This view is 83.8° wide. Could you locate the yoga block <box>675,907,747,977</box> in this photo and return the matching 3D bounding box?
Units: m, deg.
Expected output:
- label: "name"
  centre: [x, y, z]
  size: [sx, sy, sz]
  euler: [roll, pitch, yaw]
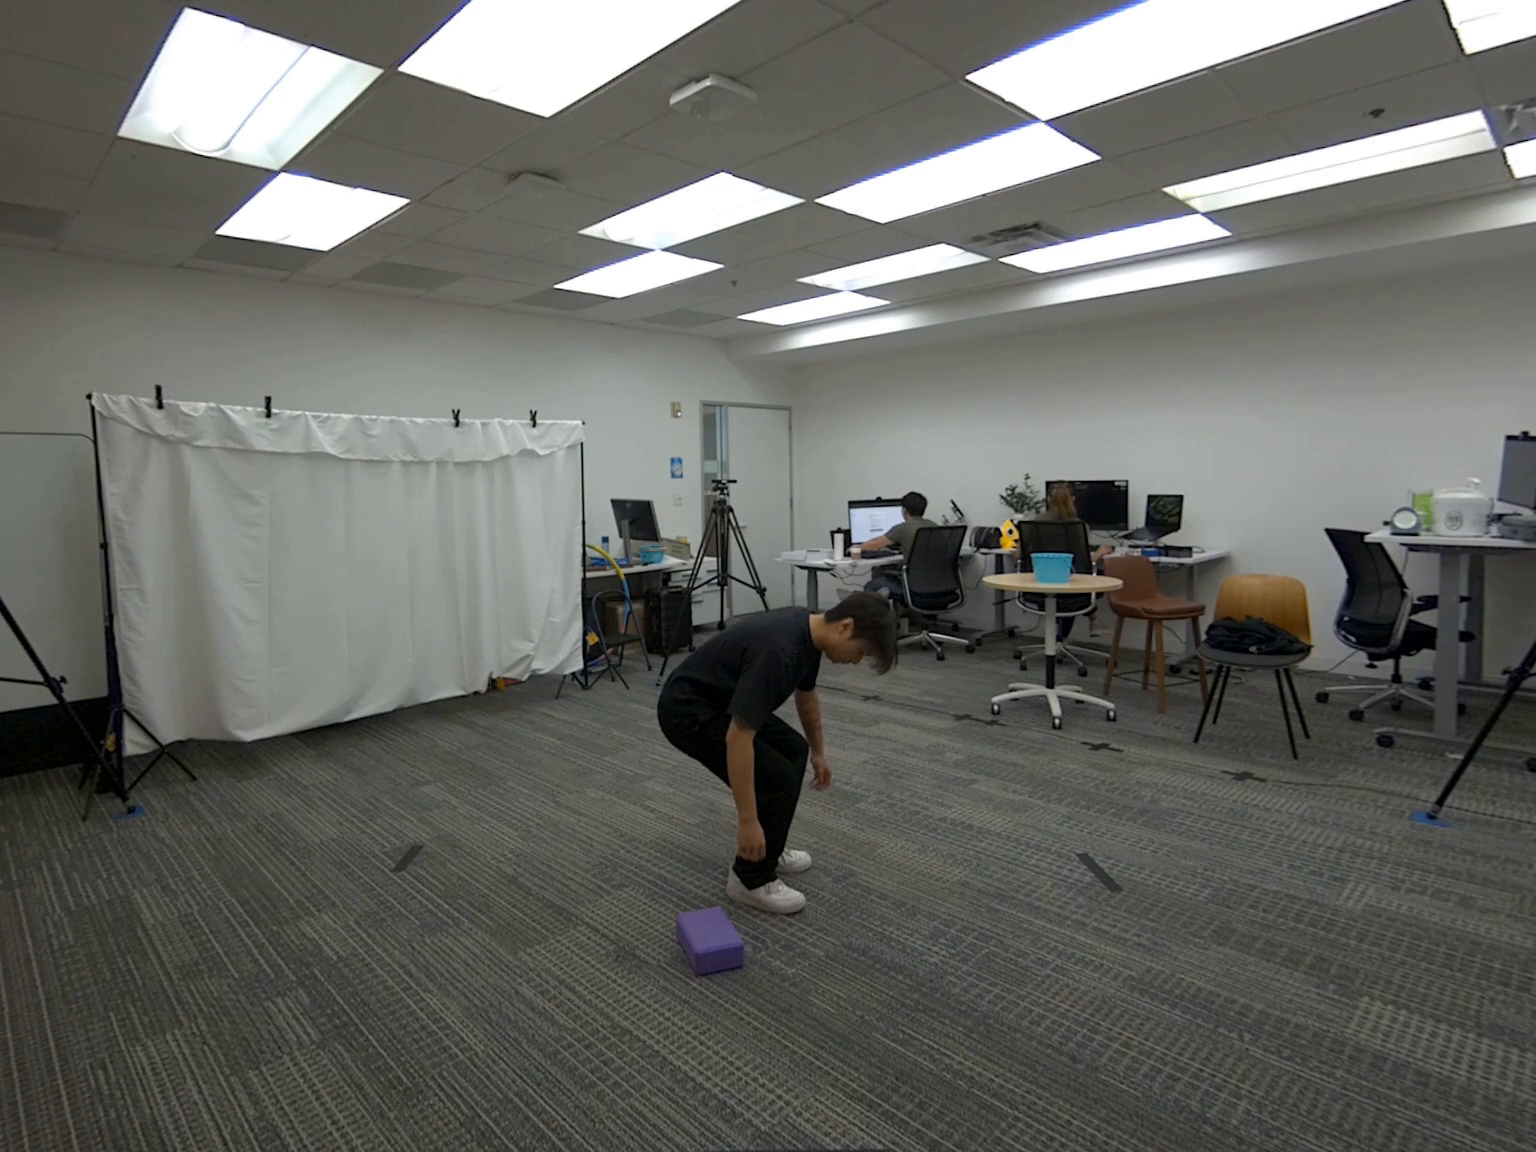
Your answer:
- label: "yoga block"
  centre: [-0.167, 1.076, 2.533]
  size: [0.146, 0.076, 0.234]
  euler: [-3, 6, -18]
